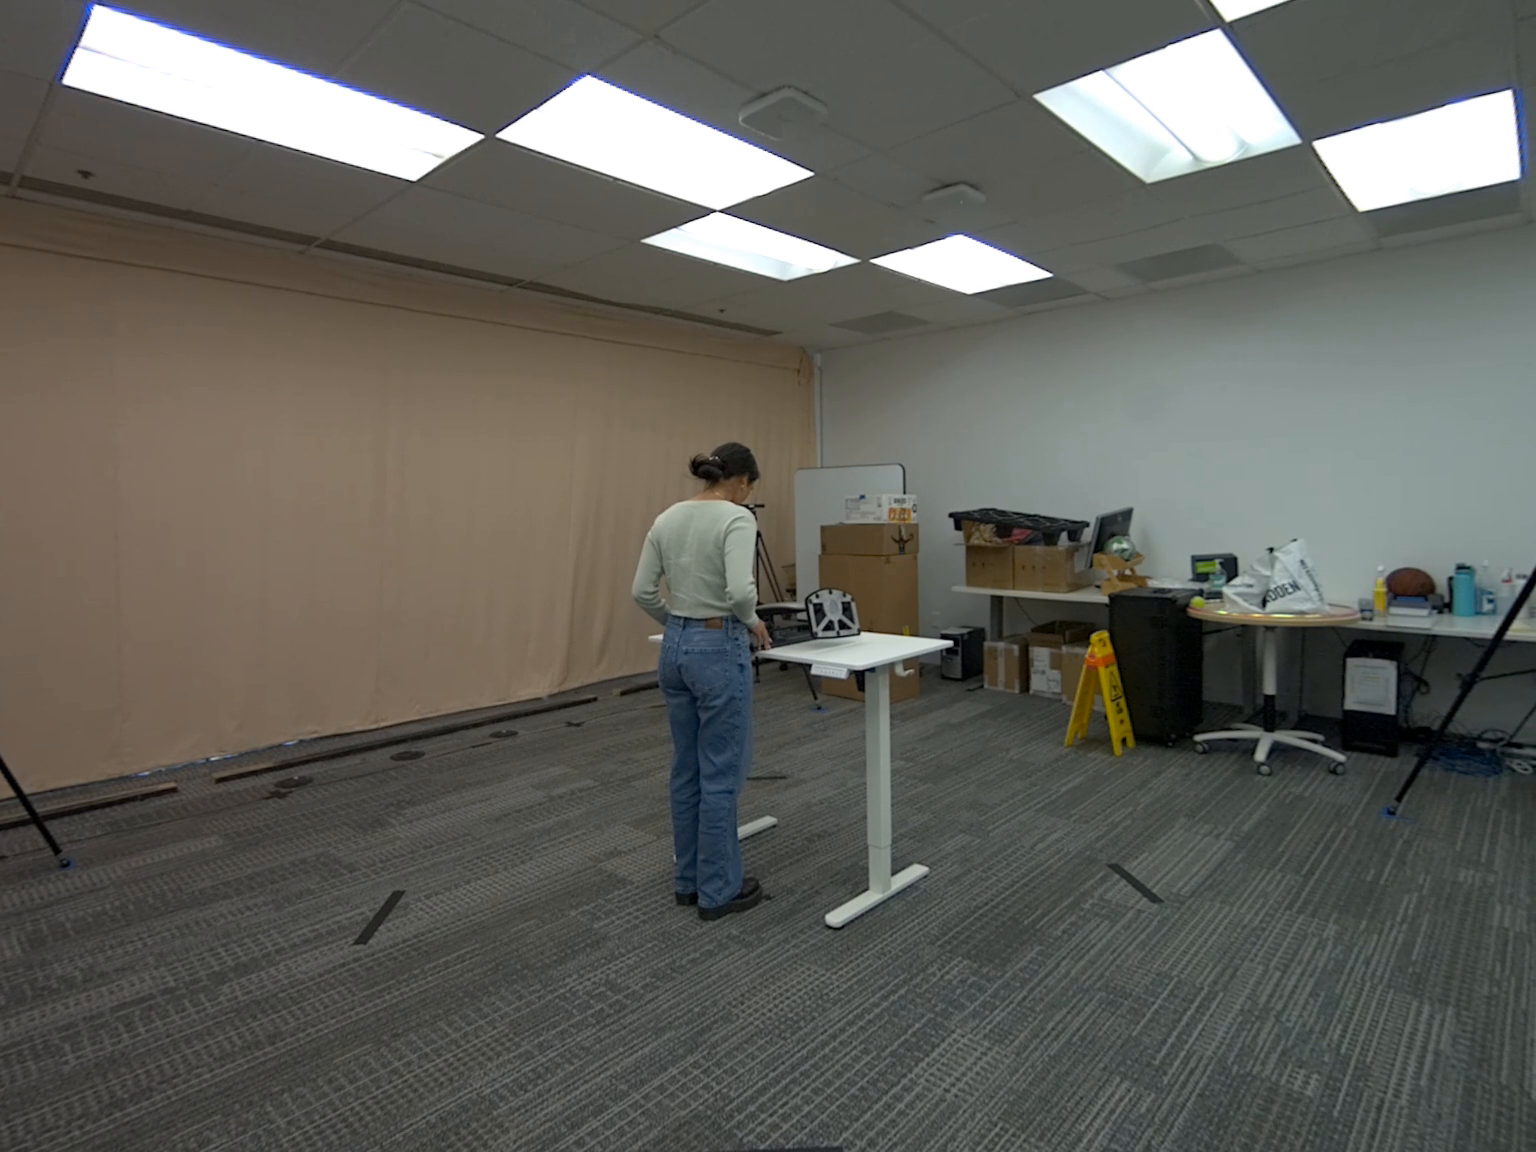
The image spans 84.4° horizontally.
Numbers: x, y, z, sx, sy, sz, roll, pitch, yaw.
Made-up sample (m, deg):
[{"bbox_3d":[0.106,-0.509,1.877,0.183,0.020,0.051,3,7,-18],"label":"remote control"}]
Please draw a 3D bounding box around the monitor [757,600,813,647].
[{"bbox_3d":[0.059,0.181,3.154,0.536,0.188,0.522,-14,-9,43],"label":"monitor"}]
